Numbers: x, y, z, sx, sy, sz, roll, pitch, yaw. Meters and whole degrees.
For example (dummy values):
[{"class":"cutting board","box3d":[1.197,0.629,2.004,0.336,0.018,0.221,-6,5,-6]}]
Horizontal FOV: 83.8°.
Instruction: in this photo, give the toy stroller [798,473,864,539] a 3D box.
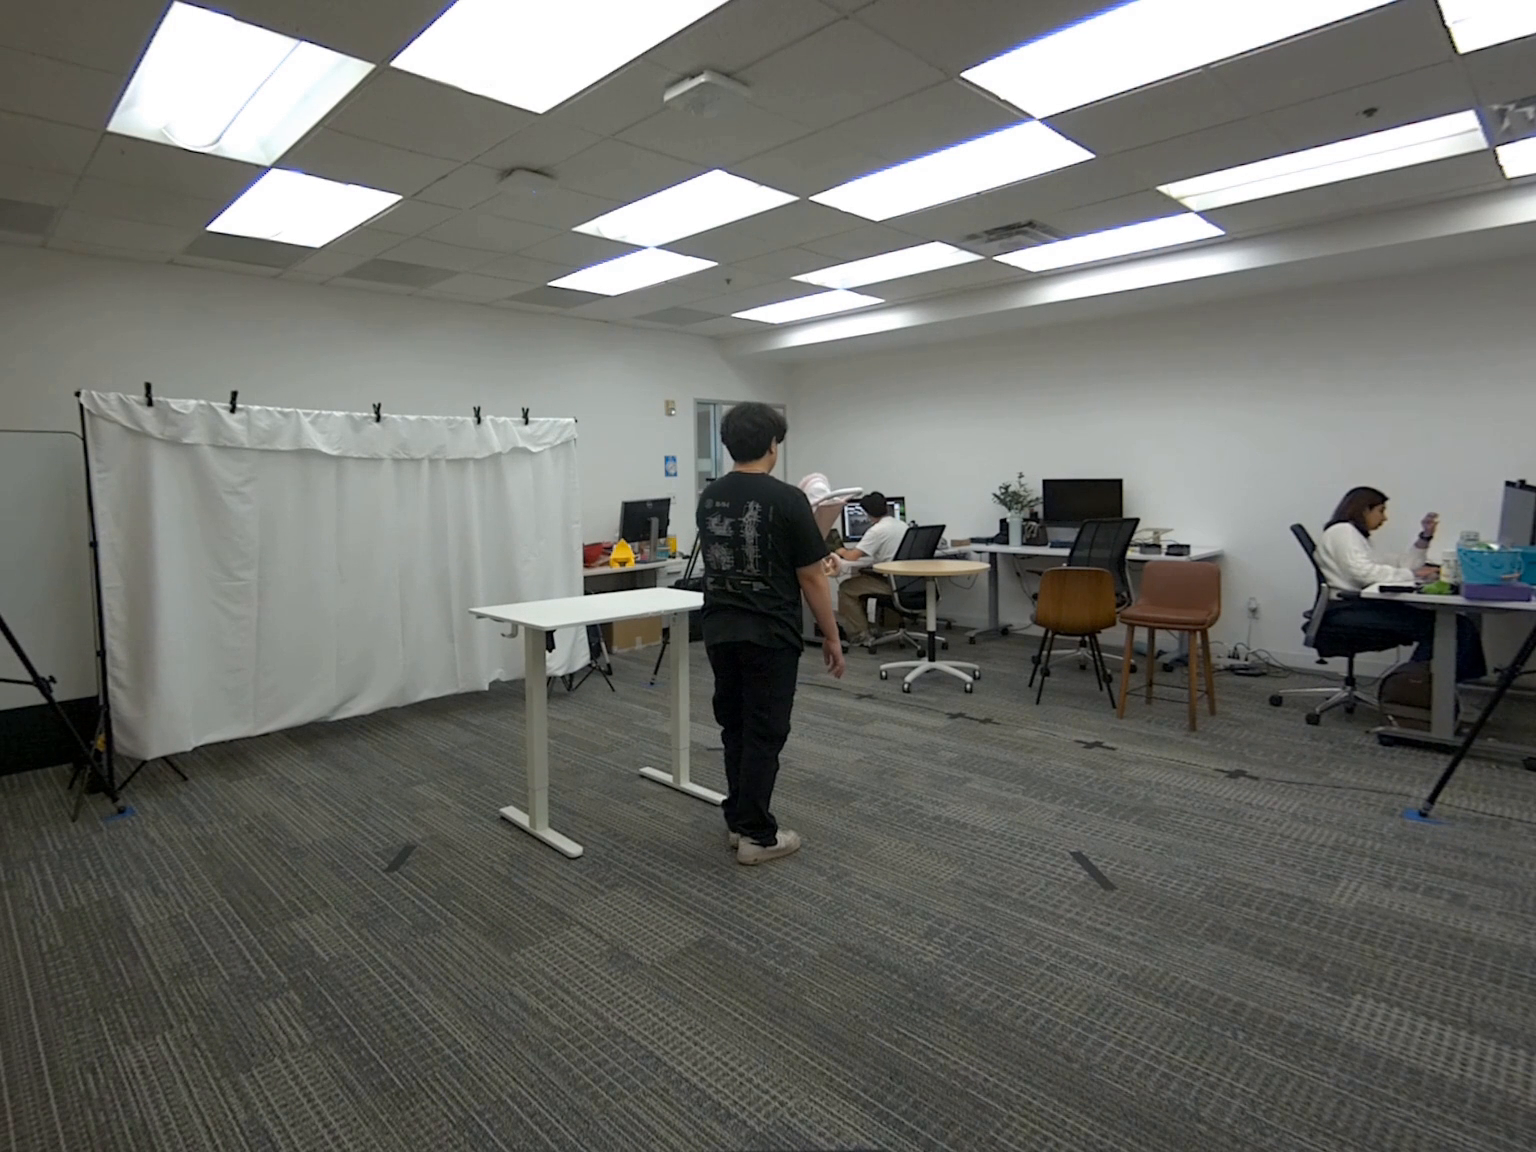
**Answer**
[{"class":"toy stroller","box3d":[0.174,-0.213,3.704,0.275,0.527,0.355,-10,36,-39]}]
